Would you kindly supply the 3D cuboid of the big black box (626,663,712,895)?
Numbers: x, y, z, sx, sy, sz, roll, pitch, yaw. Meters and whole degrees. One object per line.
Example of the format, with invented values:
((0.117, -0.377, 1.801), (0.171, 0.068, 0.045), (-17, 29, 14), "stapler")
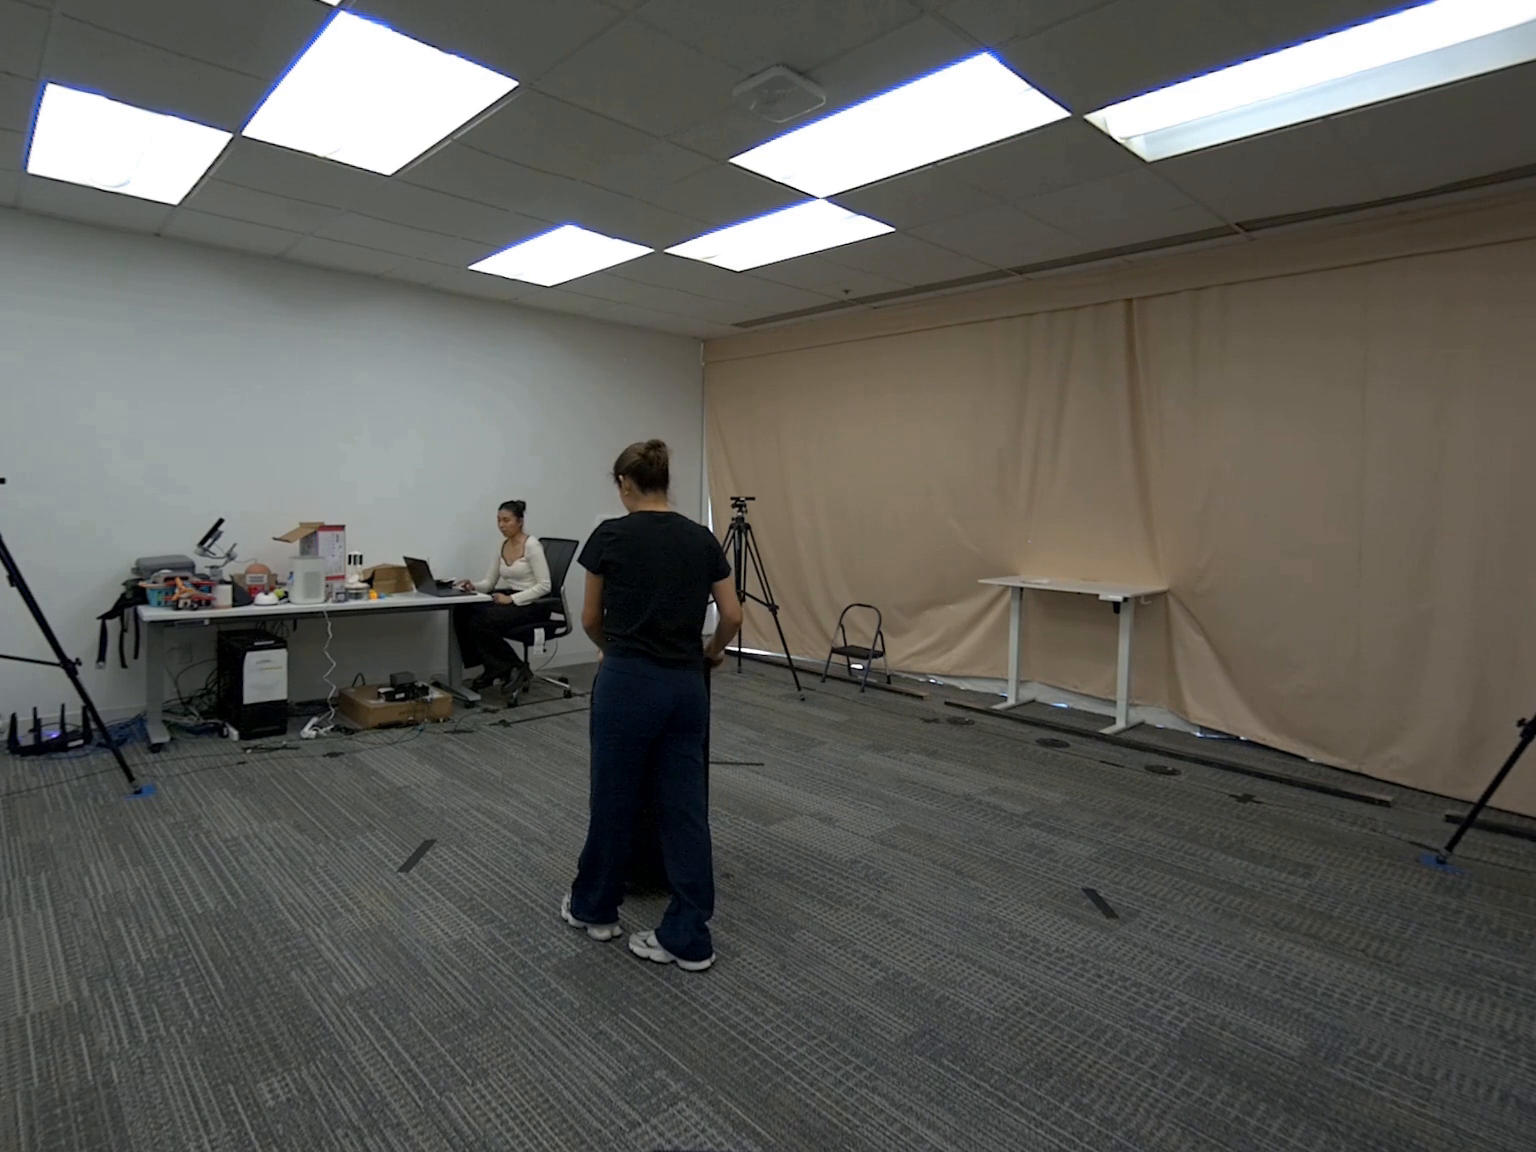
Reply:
((-0.422, 0.685, 3.081), (0.394, 0.859, 0.526), (0, 4, -9), "big black box")
